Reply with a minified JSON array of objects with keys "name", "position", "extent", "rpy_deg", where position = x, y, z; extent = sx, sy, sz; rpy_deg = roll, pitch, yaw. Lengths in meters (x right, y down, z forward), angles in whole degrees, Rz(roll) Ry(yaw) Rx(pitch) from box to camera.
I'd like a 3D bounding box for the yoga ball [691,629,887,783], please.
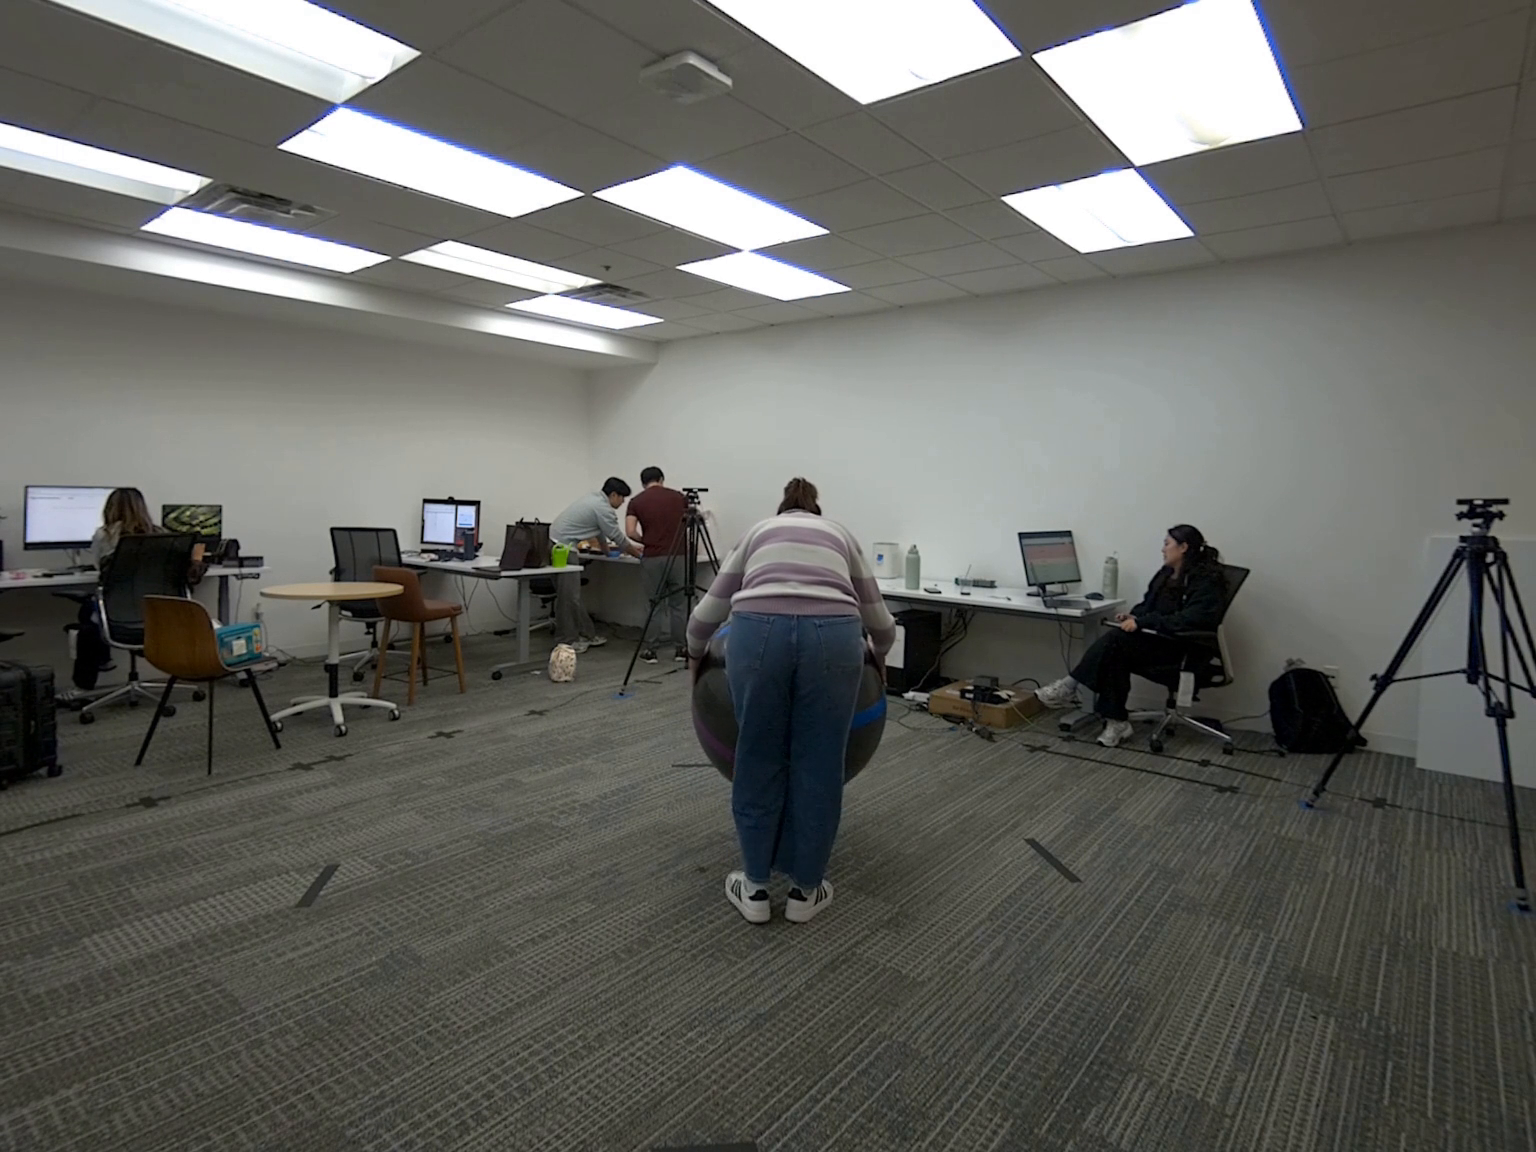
[{"name":"yoga ball","position":[0.078,0.487,3.306],"extent":[0.757,0.755,0.762],"rpy_deg":[1,4,-2]}]
